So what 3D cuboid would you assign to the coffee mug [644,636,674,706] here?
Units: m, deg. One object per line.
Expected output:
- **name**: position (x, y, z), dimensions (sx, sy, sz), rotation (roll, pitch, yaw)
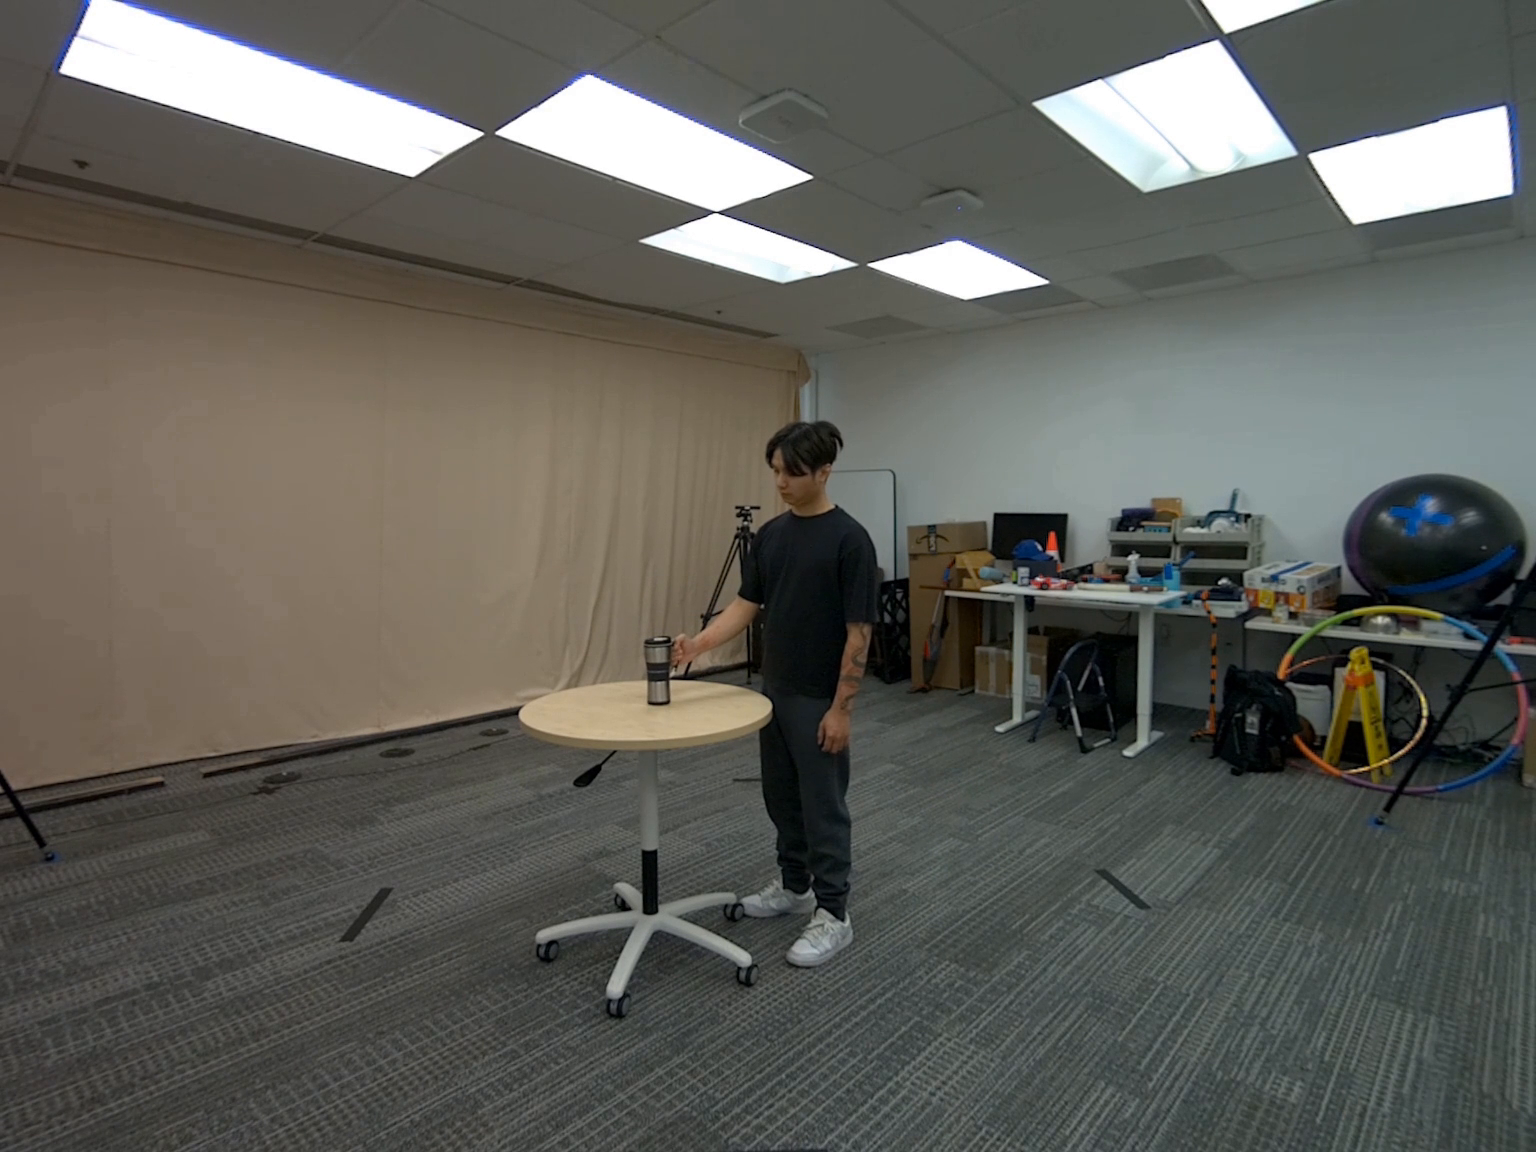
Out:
- **coffee mug**: position (-0.316, 0.298, 2.615), dimensions (0.118, 0.203, 0.090), rotation (-3, 2, -32)
